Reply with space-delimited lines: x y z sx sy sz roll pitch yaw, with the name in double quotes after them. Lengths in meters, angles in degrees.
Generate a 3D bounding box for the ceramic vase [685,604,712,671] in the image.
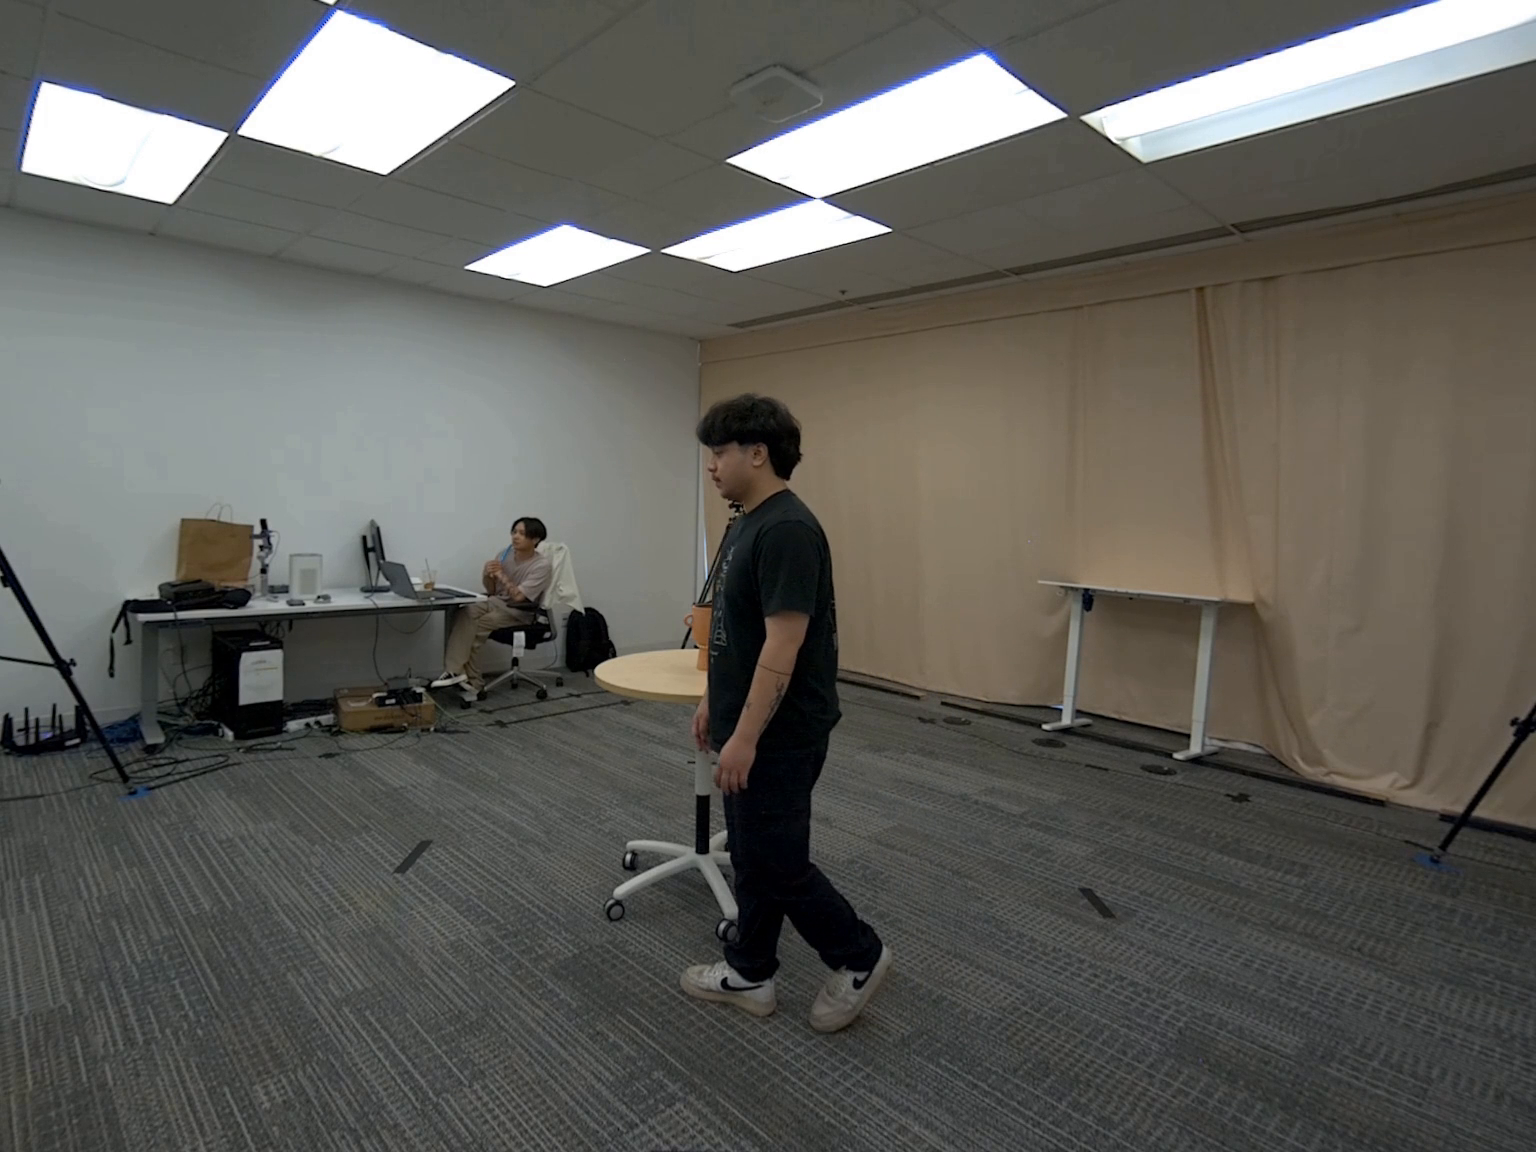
-0.205 0.218 2.950 0.161 0.219 0.133 2 4 19 "ceramic vase"
